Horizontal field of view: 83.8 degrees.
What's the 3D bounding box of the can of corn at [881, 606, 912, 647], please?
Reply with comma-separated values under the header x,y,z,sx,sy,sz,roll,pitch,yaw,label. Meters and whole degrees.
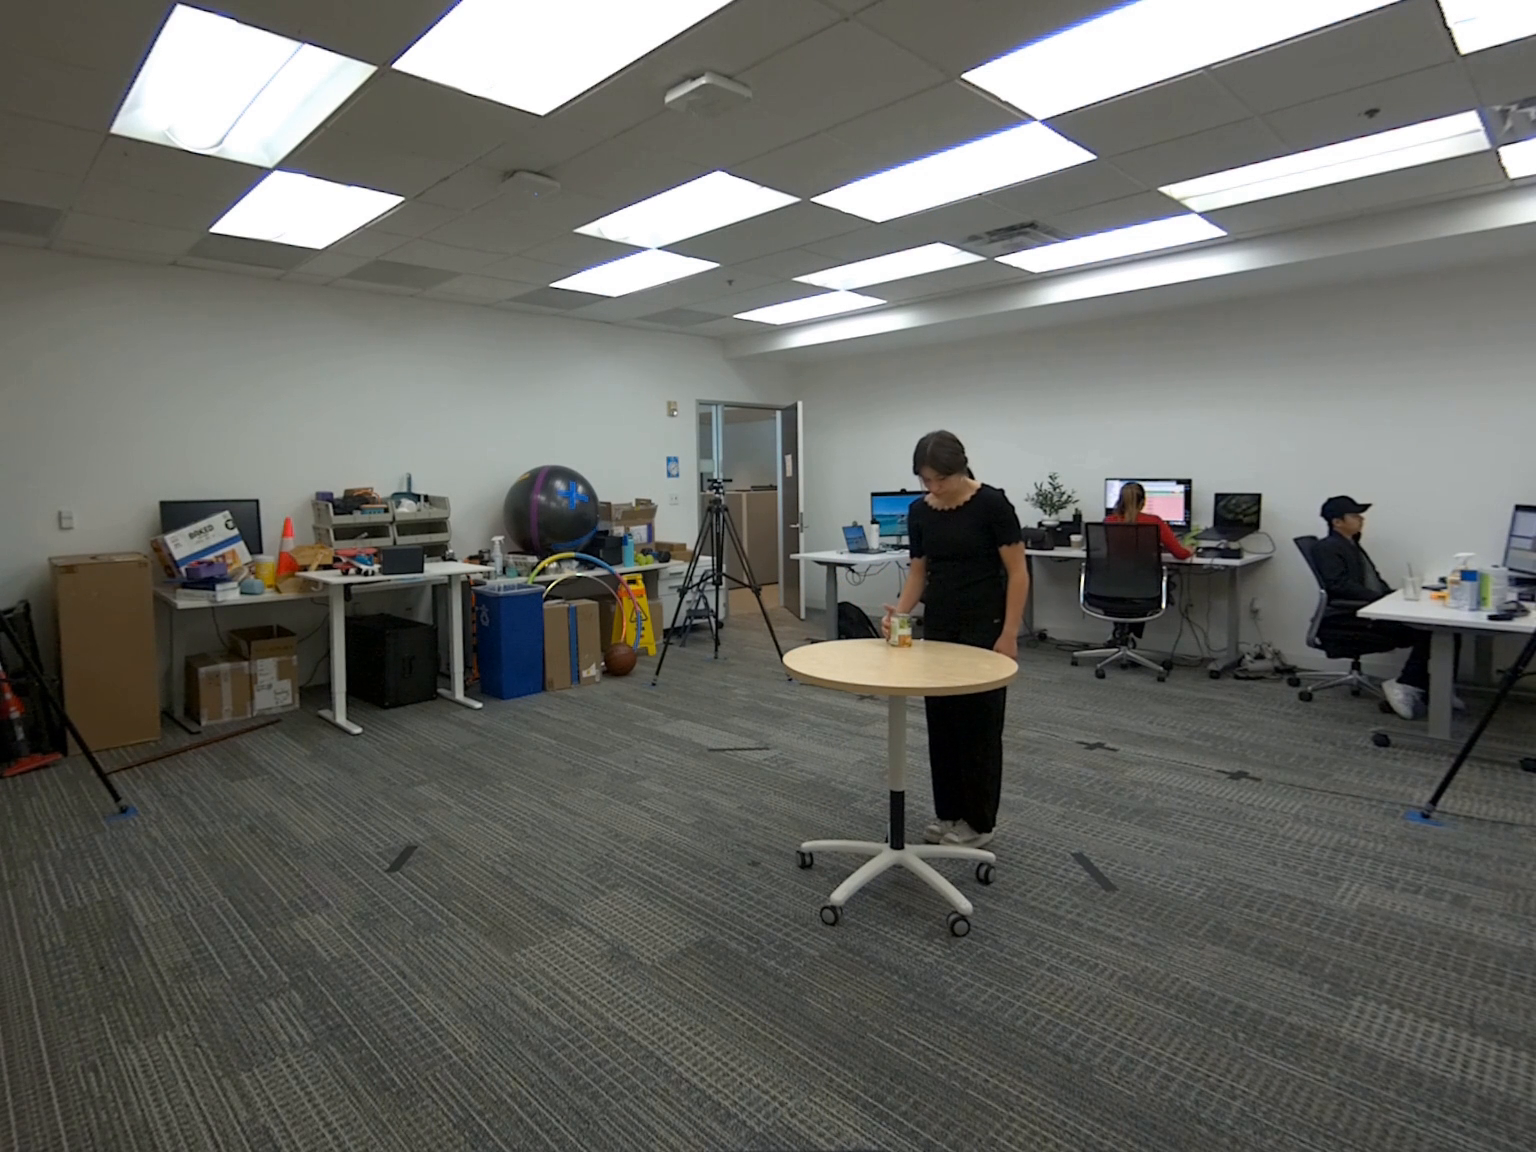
x,y,z,sx,sy,sz,roll,pitch,yaw,label
0.478,0.200,3.100,0.074,0.111,0.074,-2,2,-2,can of corn
